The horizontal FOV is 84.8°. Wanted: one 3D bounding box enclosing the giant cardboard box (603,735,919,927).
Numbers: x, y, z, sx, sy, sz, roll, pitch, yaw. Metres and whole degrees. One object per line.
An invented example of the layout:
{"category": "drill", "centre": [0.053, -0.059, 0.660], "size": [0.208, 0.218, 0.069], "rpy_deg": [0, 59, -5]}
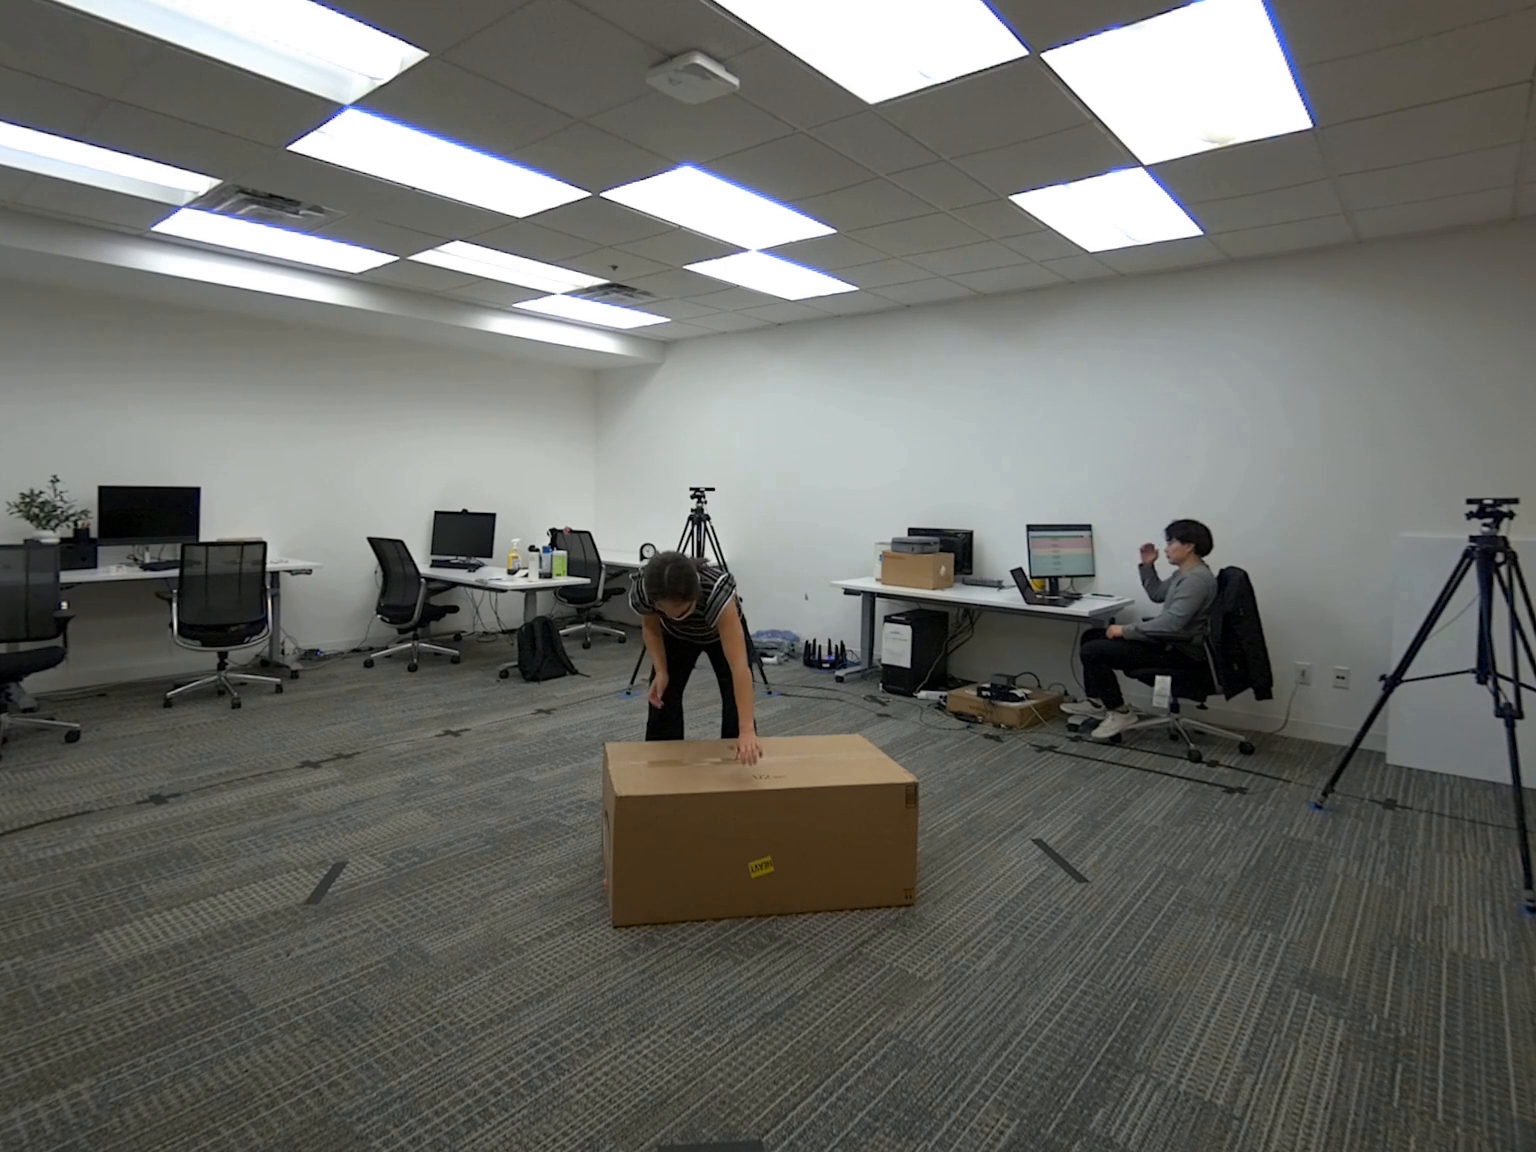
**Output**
{"category": "giant cardboard box", "centre": [-0.069, 0.863, 3.035], "size": [1.013, 0.425, 0.587], "rpy_deg": [0, 4, -12]}
